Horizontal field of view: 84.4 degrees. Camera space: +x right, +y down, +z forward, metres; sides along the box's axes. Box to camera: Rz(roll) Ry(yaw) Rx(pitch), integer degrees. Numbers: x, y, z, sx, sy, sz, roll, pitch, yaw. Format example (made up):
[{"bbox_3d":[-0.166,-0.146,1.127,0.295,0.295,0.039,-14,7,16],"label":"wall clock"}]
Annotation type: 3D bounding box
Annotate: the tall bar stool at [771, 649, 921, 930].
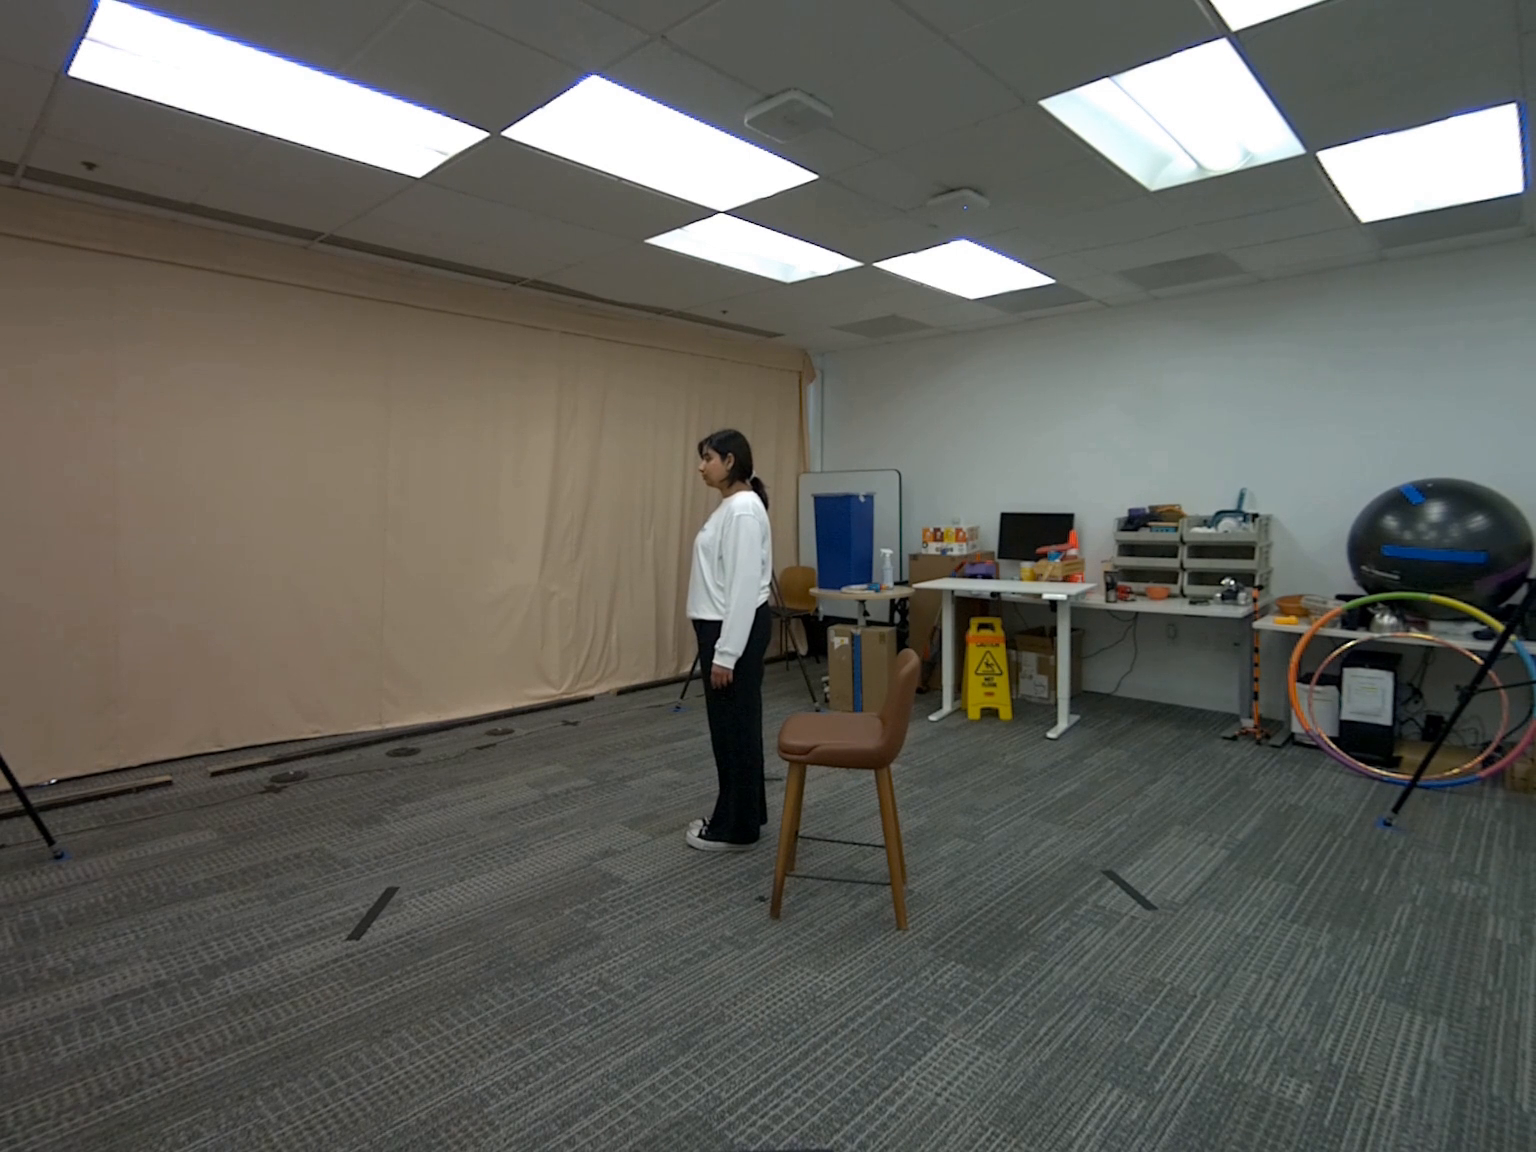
[{"bbox_3d":[0.279,0.710,2.960,0.474,0.888,0.451,2,4,12],"label":"tall bar stool"}]
